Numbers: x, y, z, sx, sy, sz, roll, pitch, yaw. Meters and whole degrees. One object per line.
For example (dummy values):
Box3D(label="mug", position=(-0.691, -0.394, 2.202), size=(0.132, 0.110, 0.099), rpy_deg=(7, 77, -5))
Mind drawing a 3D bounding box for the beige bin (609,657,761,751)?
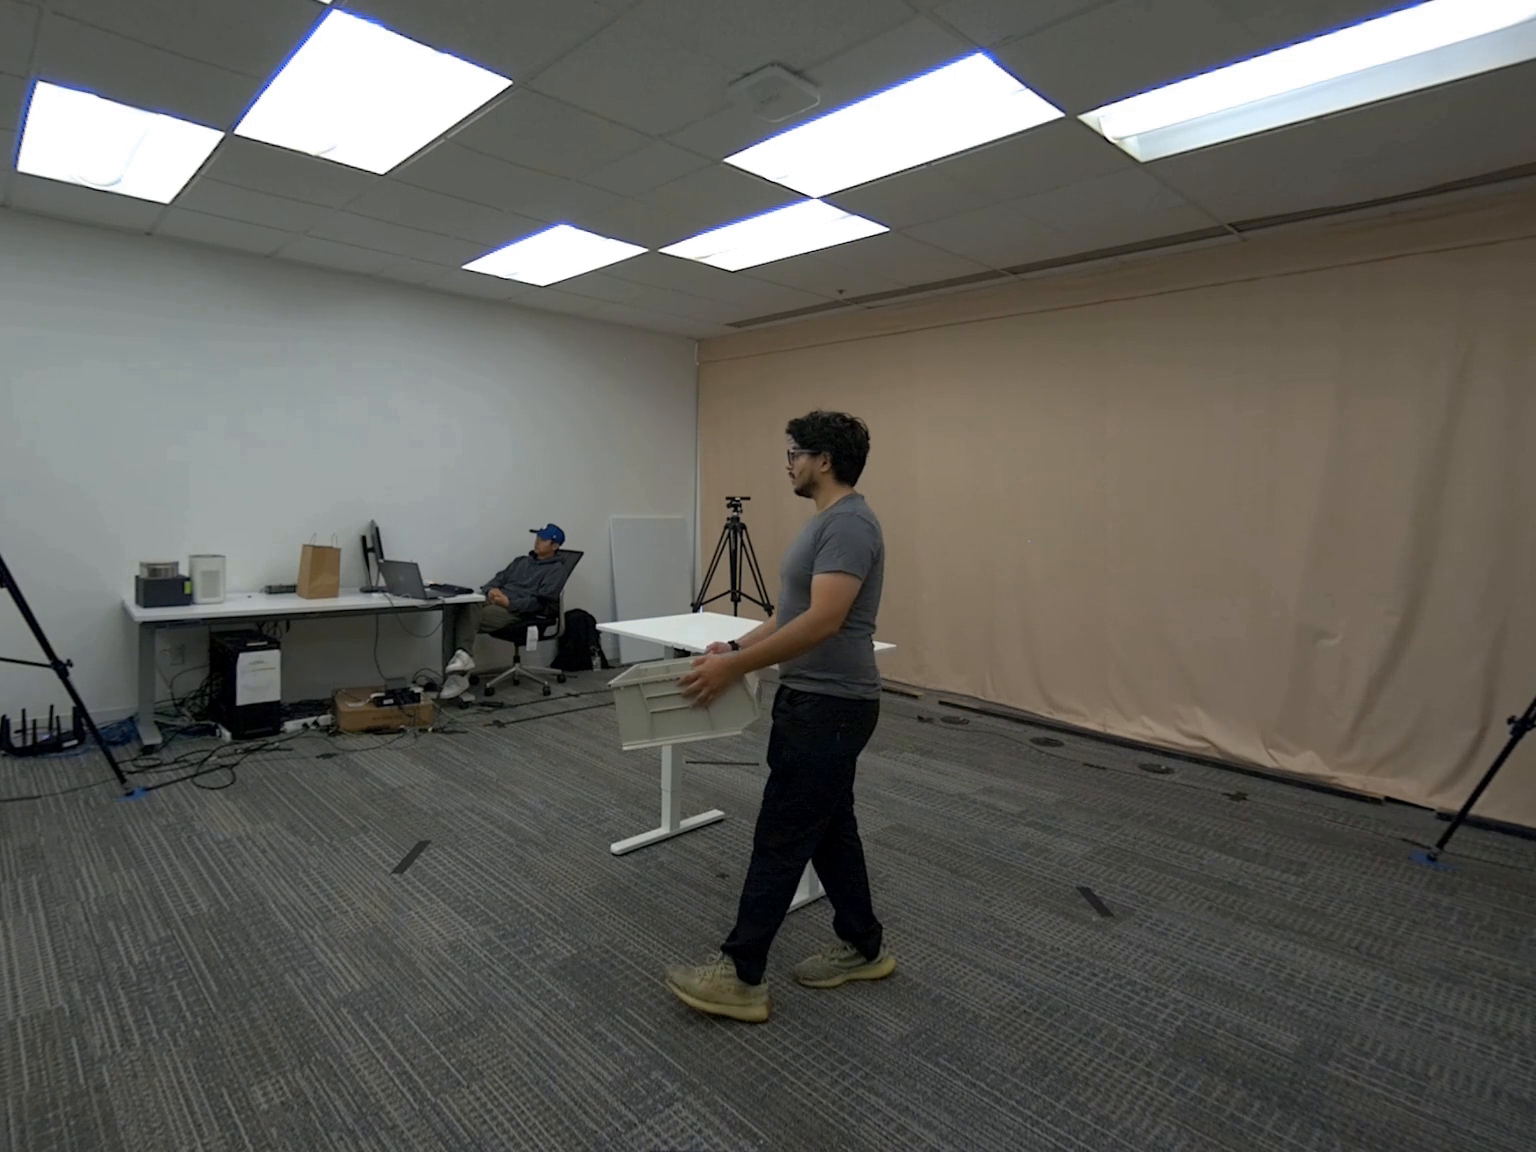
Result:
Box3D(label="beige bin", position=(-0.217, 0.329, 2.372), size=(0.378, 0.189, 0.422), rpy_deg=(-9, 3, 1))
